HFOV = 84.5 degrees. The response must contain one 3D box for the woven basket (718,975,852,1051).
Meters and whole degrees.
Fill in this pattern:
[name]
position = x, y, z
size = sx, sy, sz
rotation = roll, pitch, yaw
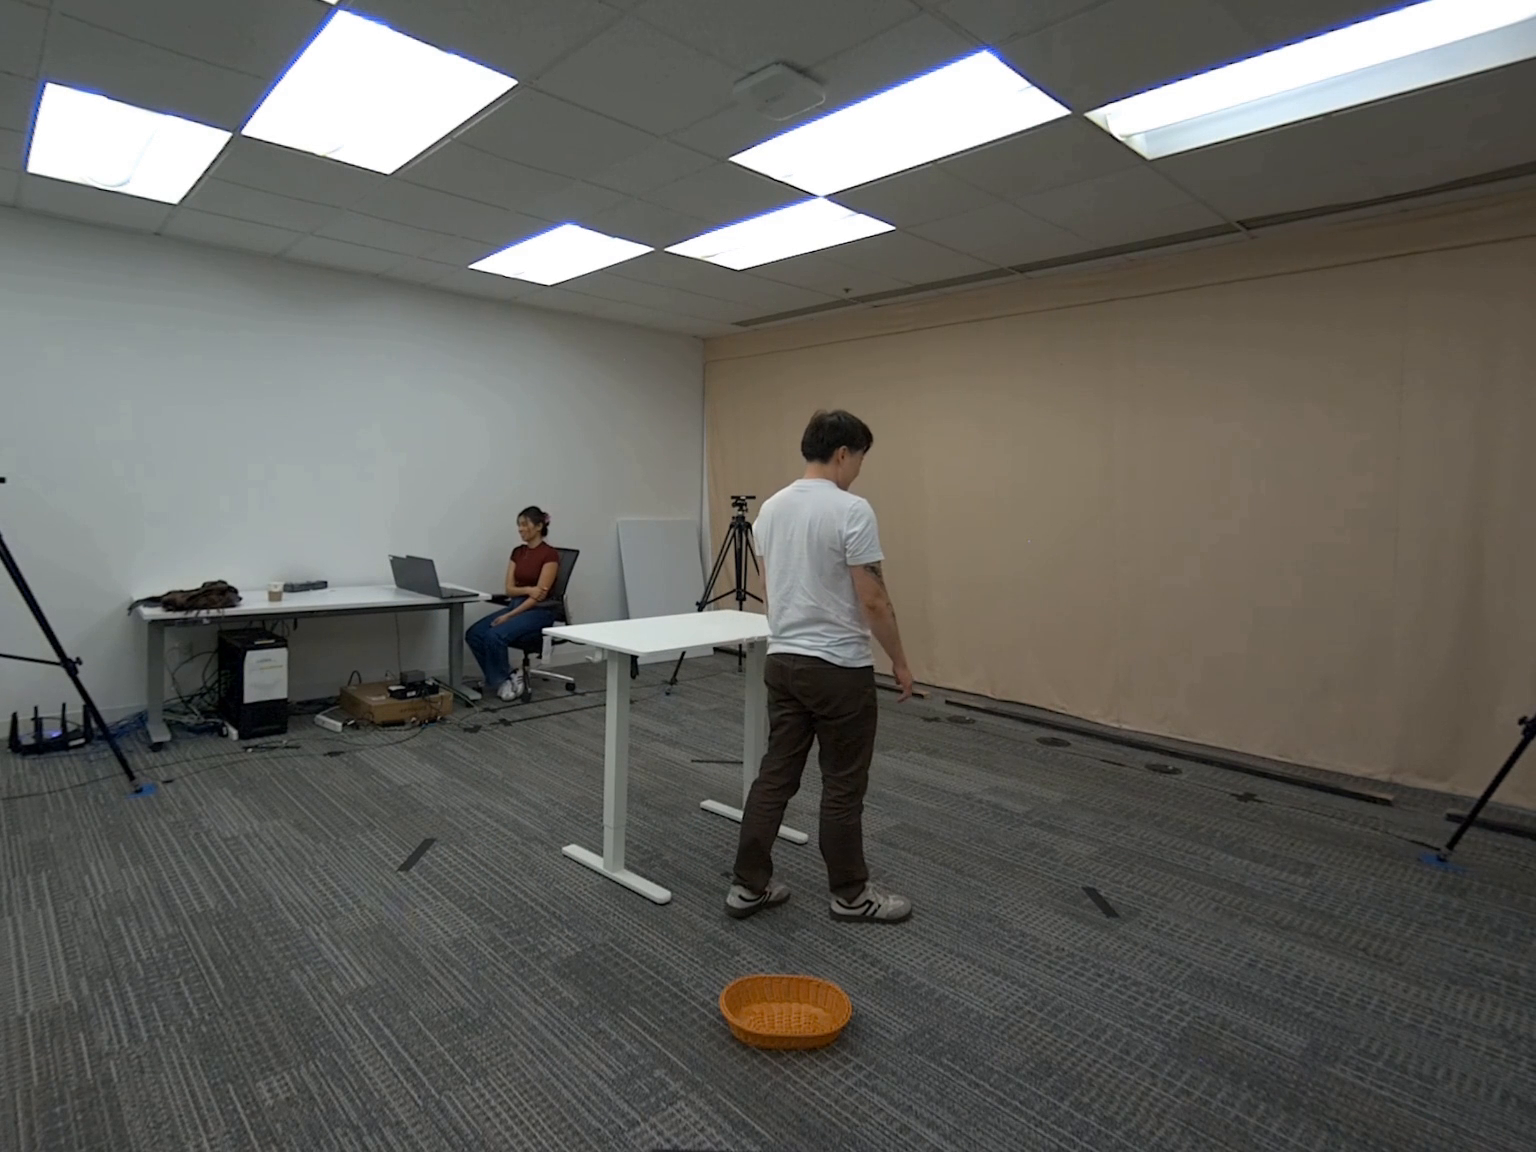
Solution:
[woven basket]
position = 0.038, 1.154, 2.209
size = 0.351, 0.073, 0.253
rotation = 2, 7, 1
